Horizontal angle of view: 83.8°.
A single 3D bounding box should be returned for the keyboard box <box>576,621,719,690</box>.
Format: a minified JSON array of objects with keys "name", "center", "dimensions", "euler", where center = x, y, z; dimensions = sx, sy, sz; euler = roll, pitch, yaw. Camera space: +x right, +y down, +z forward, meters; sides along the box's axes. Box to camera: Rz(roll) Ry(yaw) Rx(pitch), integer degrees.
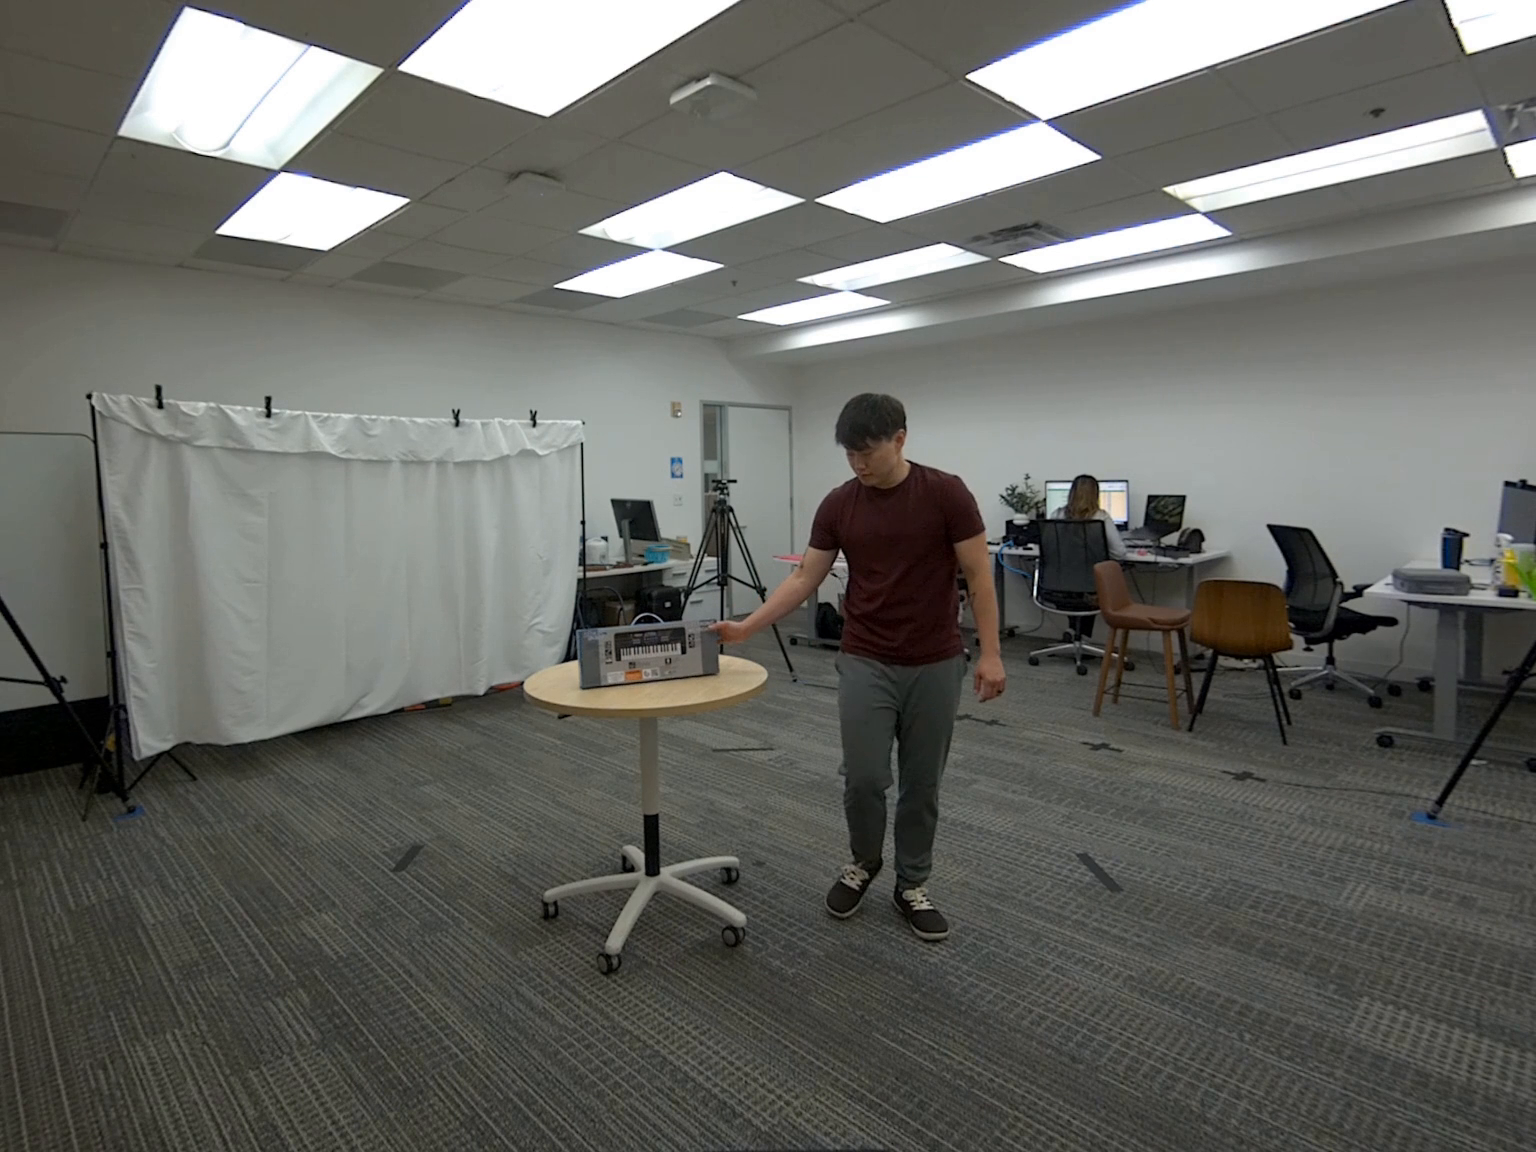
[{"name":"keyboard box","center":[-0.365,0.238,2.646],"dimensions":[0.429,0.176,0.060],"euler":[-4,-1,-20]}]
